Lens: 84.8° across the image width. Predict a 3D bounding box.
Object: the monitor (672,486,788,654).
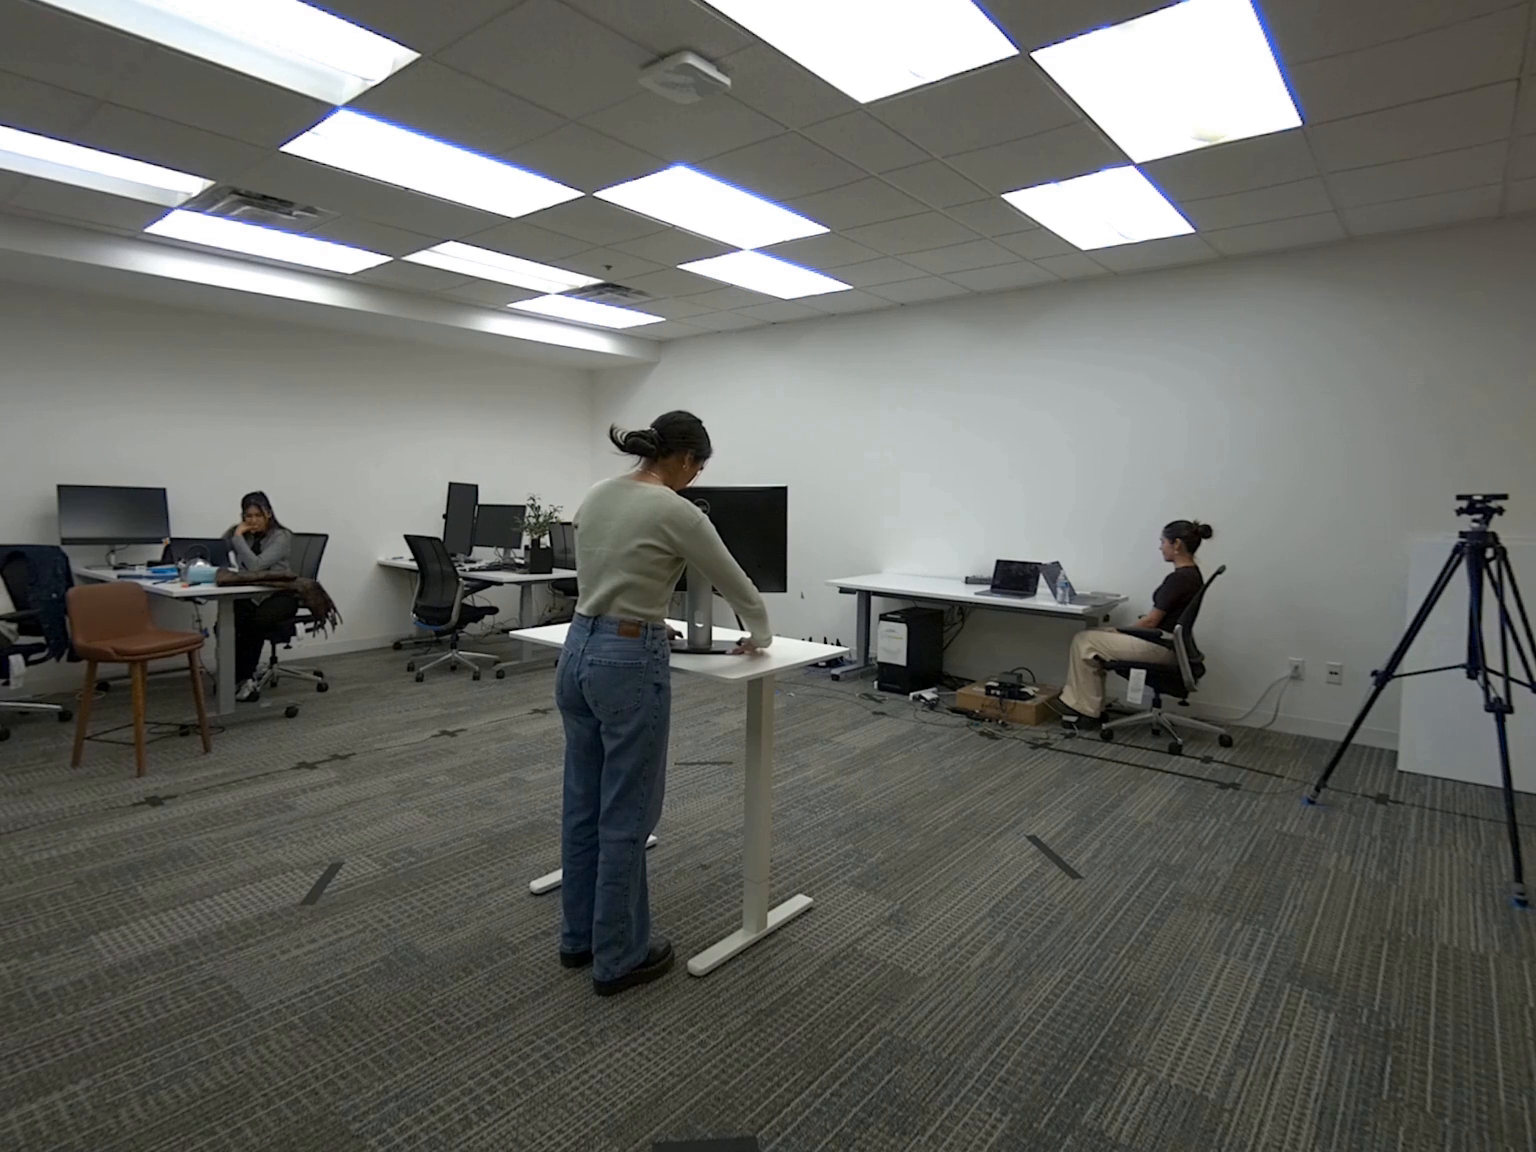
[{"bbox_3d":[-0.209,-0.027,2.662,0.531,0.515,0.175,-1,2,1],"label":"monitor"}]
